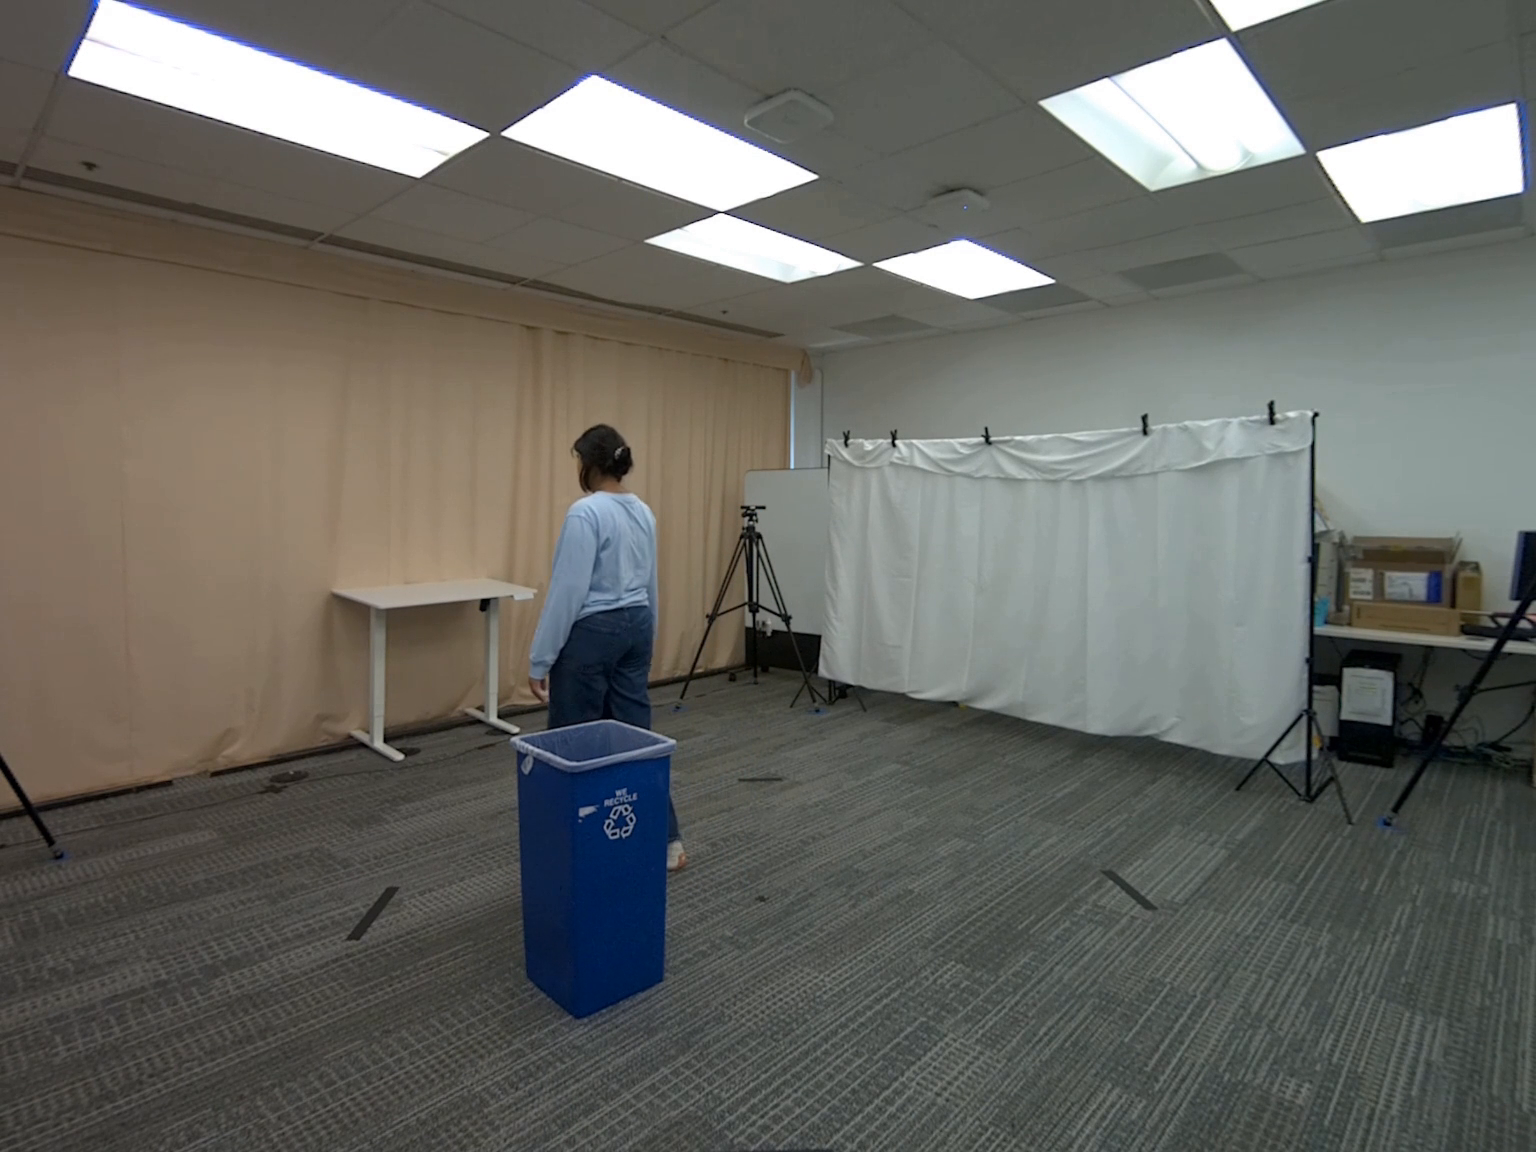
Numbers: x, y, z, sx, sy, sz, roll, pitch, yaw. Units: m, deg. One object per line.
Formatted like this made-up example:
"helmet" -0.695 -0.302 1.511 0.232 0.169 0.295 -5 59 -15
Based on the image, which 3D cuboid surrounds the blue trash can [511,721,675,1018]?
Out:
"blue trash can" -0.503 0.832 2.477 0.362 0.712 0.390 -2 4 -42
